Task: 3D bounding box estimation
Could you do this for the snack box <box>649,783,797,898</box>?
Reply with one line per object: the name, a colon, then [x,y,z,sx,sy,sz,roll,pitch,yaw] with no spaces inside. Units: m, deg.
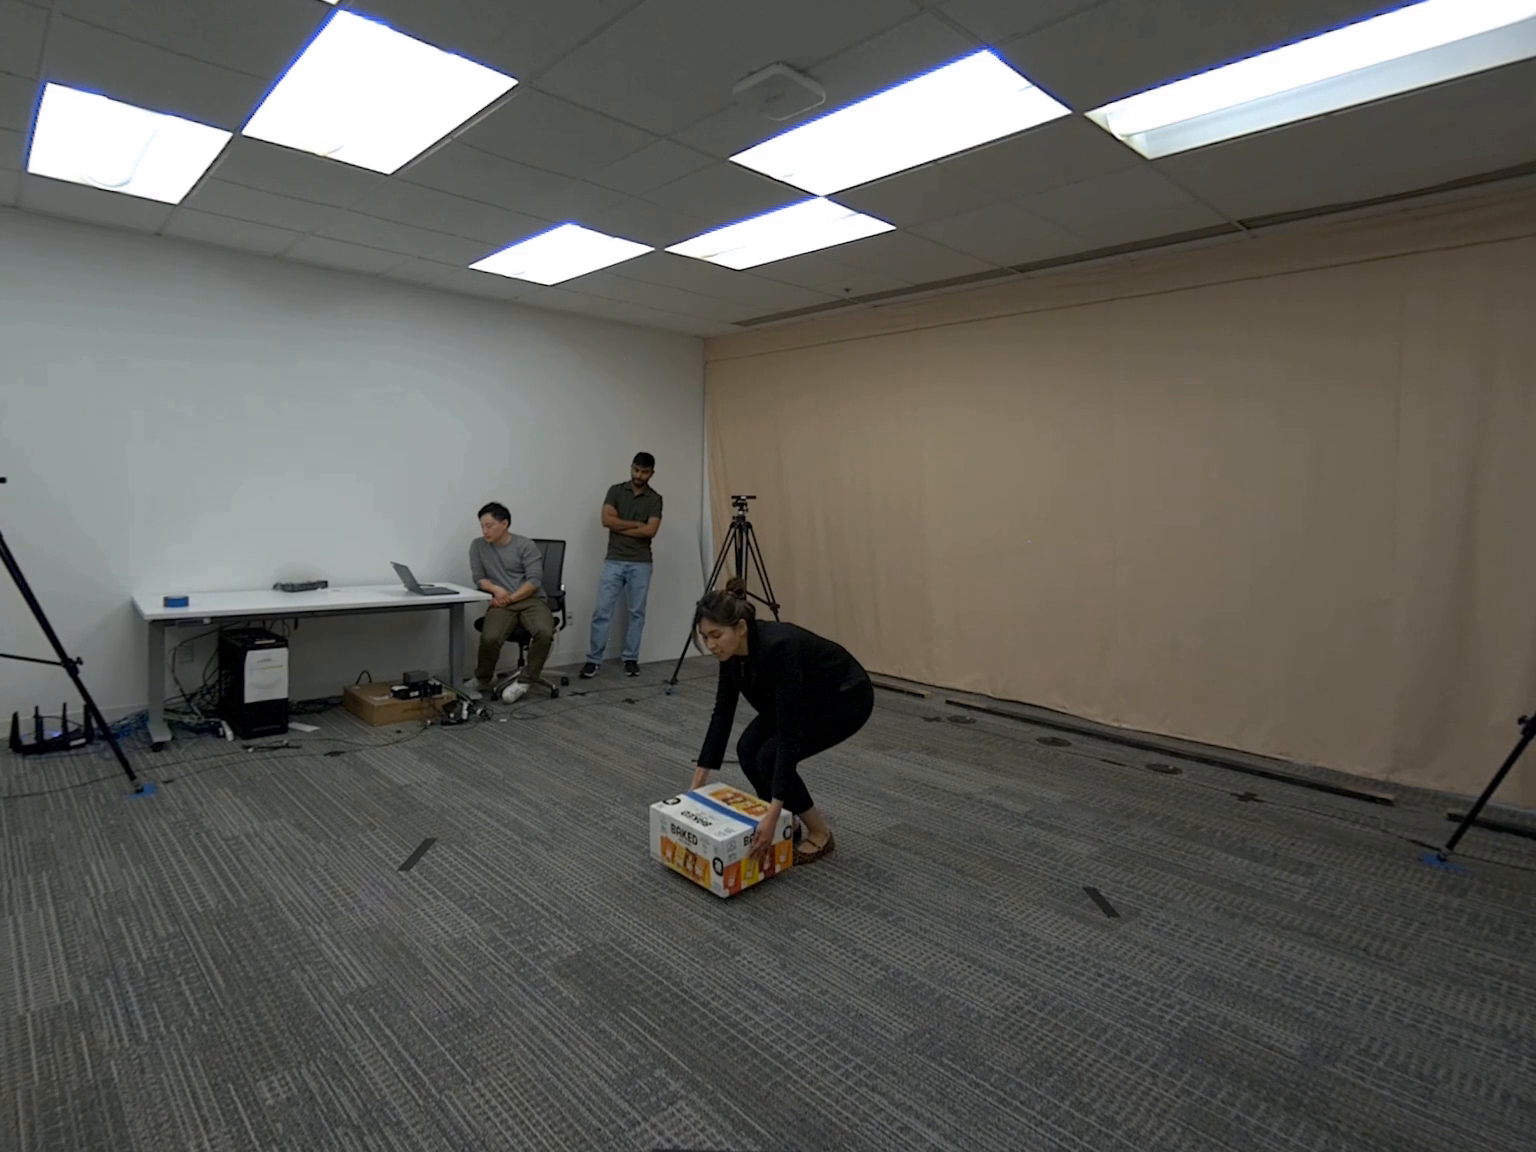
snack box: [-0.181,0.944,3.082,0.333,0.204,0.416,-7,10,-43]
